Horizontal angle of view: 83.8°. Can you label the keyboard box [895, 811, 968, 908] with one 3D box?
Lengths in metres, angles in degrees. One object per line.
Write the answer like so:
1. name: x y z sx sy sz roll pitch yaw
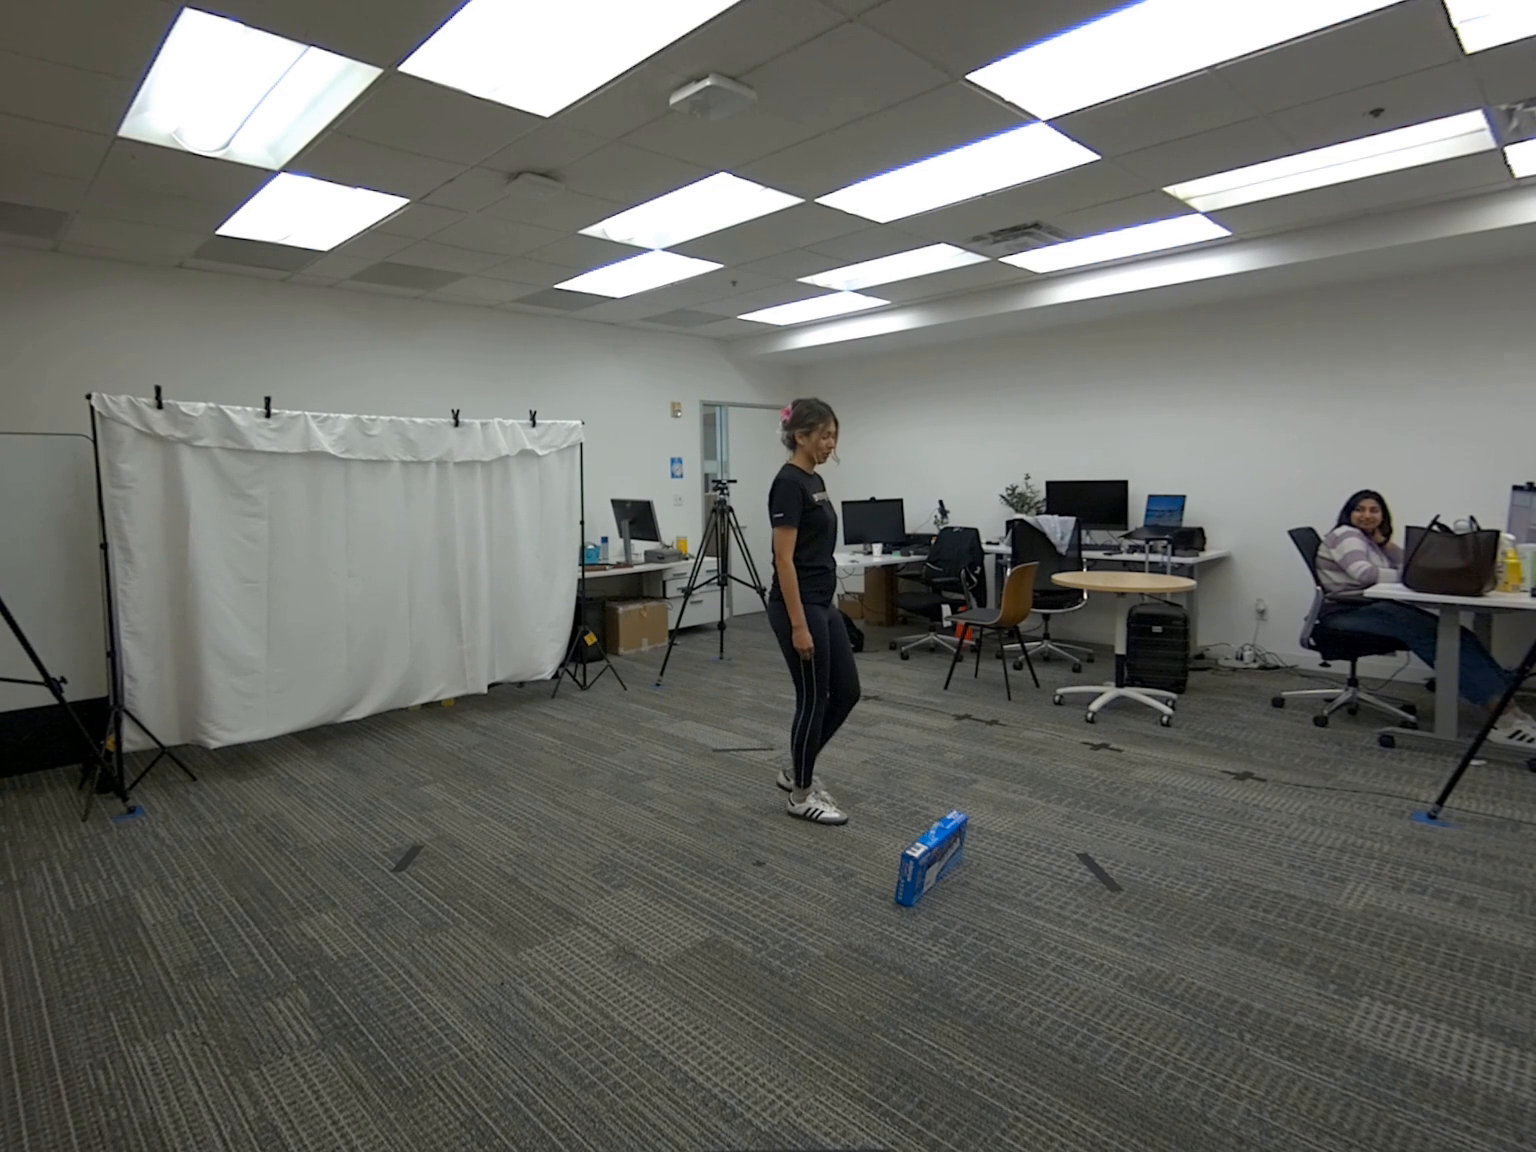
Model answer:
1. keyboard box: 0.573 0.966 2.944 0.061 0.174 0.426 11 12 33
